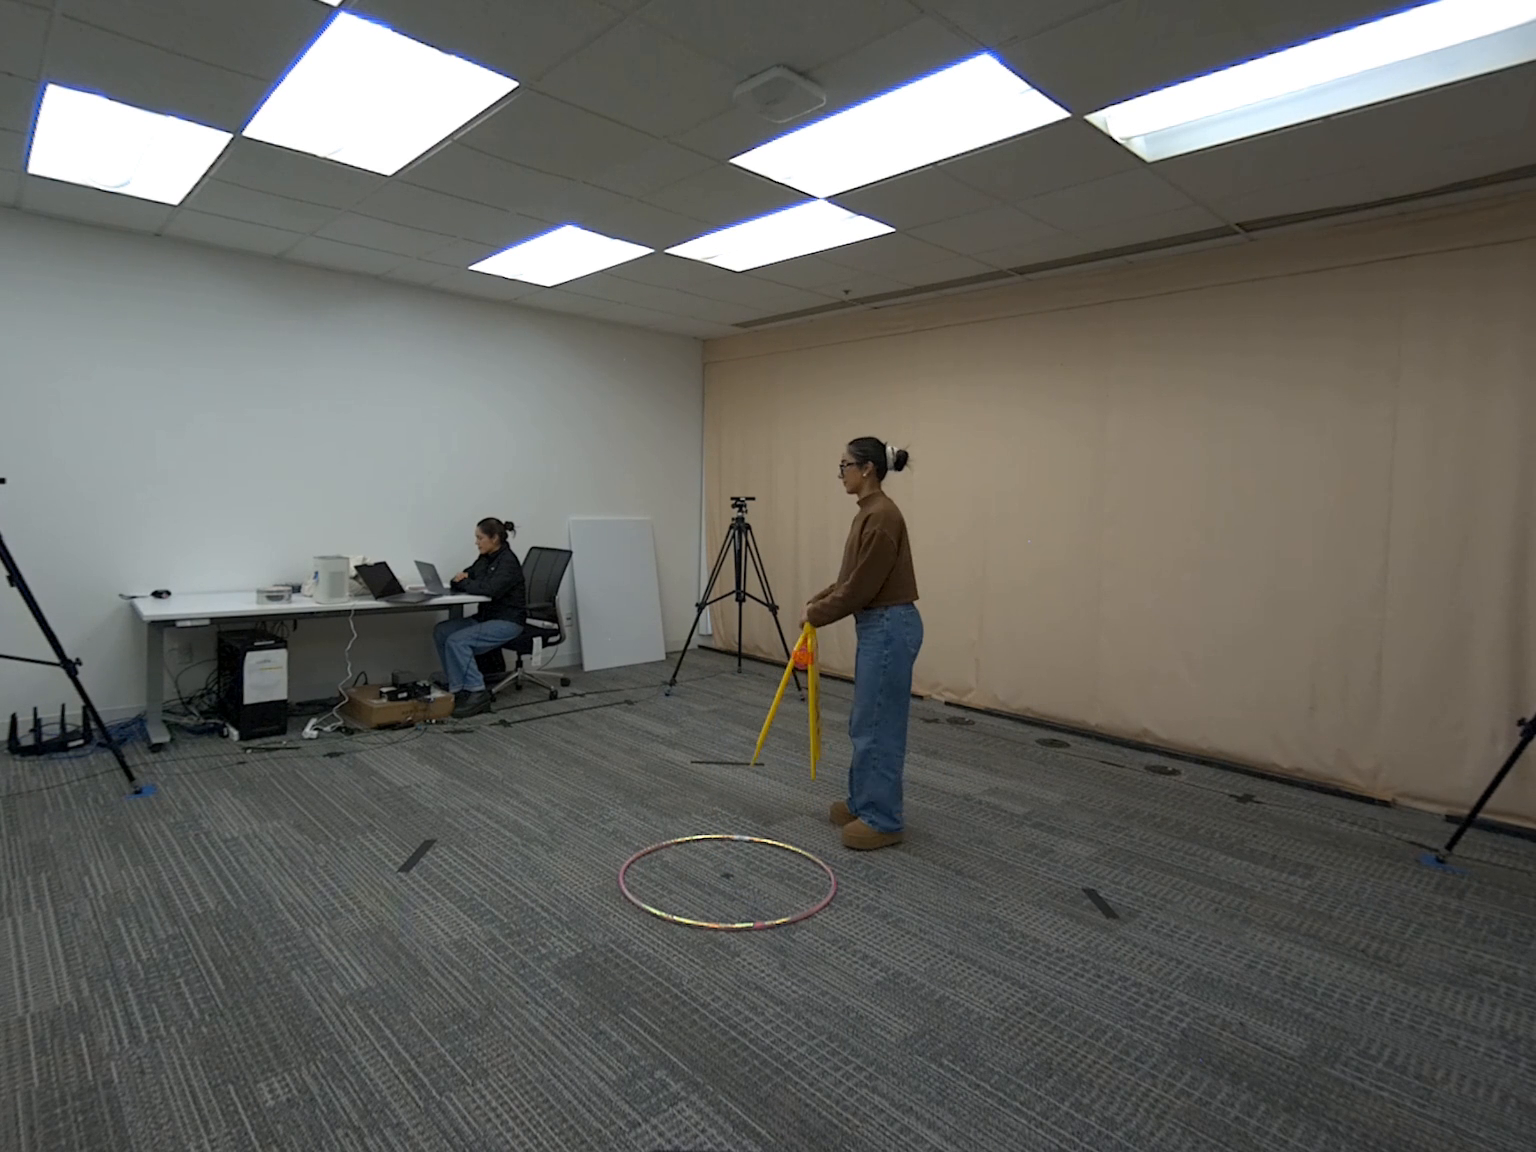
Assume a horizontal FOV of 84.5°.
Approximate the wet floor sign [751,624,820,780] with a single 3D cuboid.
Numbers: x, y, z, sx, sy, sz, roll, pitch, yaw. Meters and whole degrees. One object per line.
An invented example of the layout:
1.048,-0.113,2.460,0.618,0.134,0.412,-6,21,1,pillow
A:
0.129,0.490,3.563,0.292,0.643,0.281,9,6,8,wet floor sign
